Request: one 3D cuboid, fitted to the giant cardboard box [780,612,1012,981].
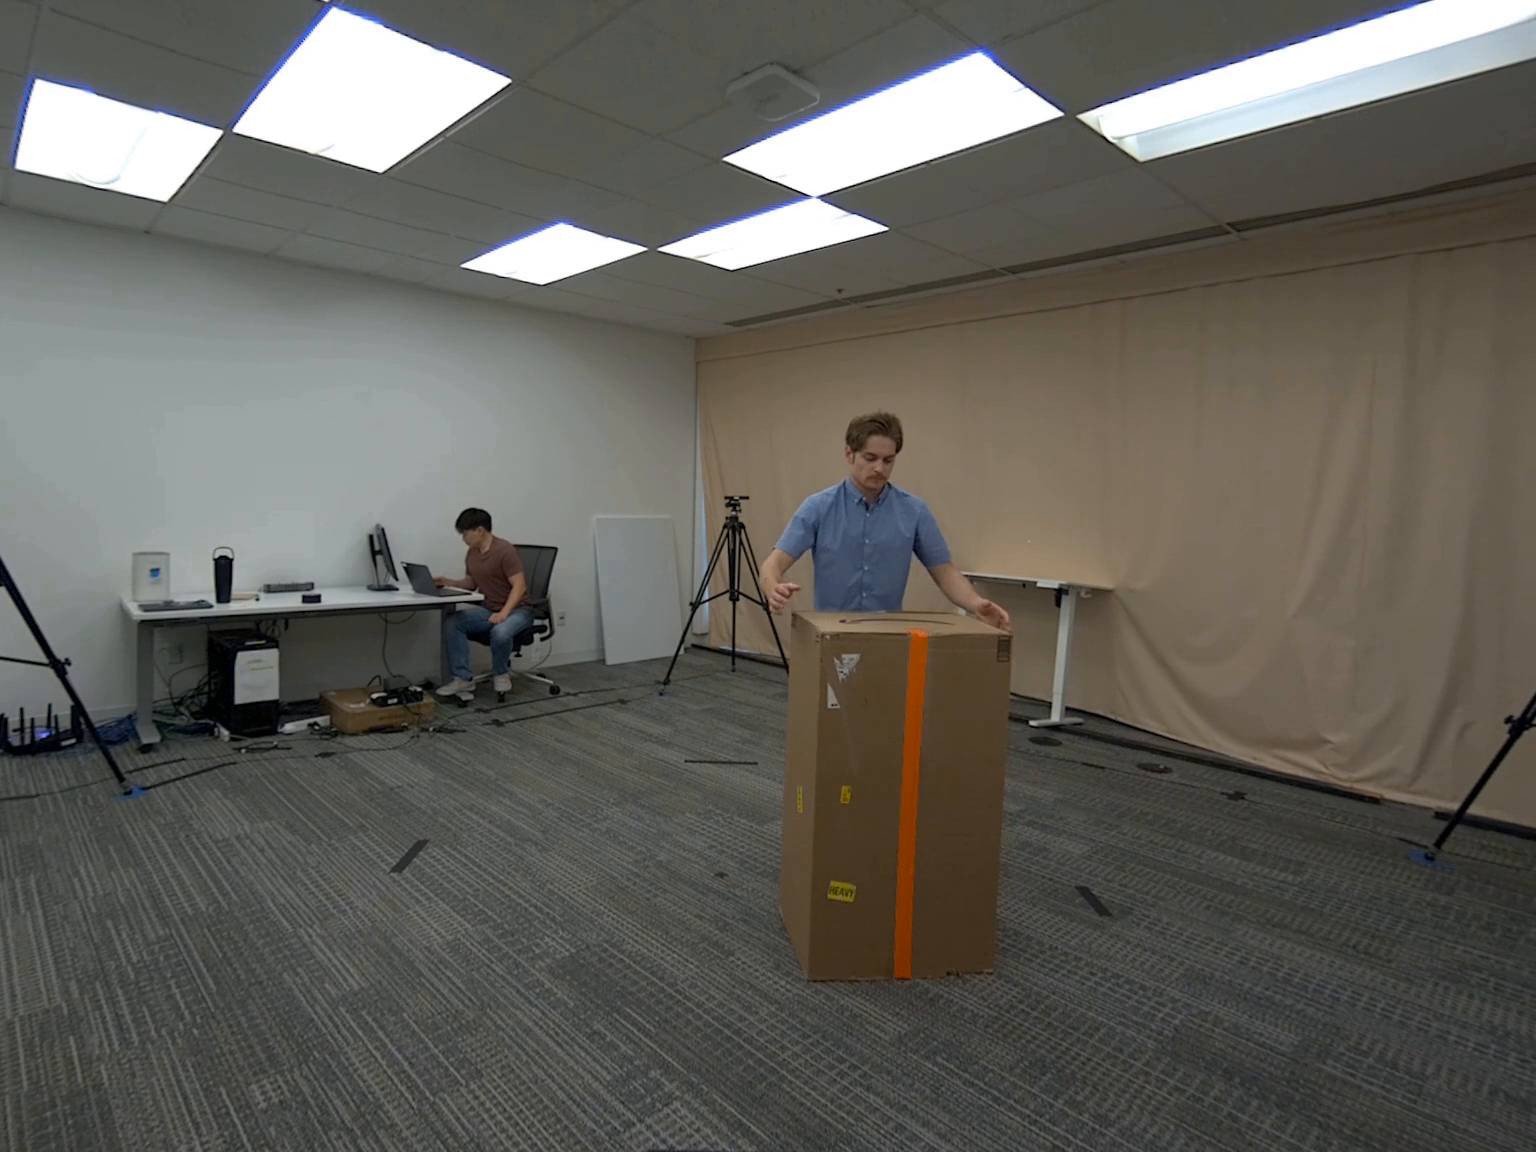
[{"bbox_3d":[0.374,0.653,2.637,0.573,1.023,0.431,1,4,-9],"label":"giant cardboard box"}]
